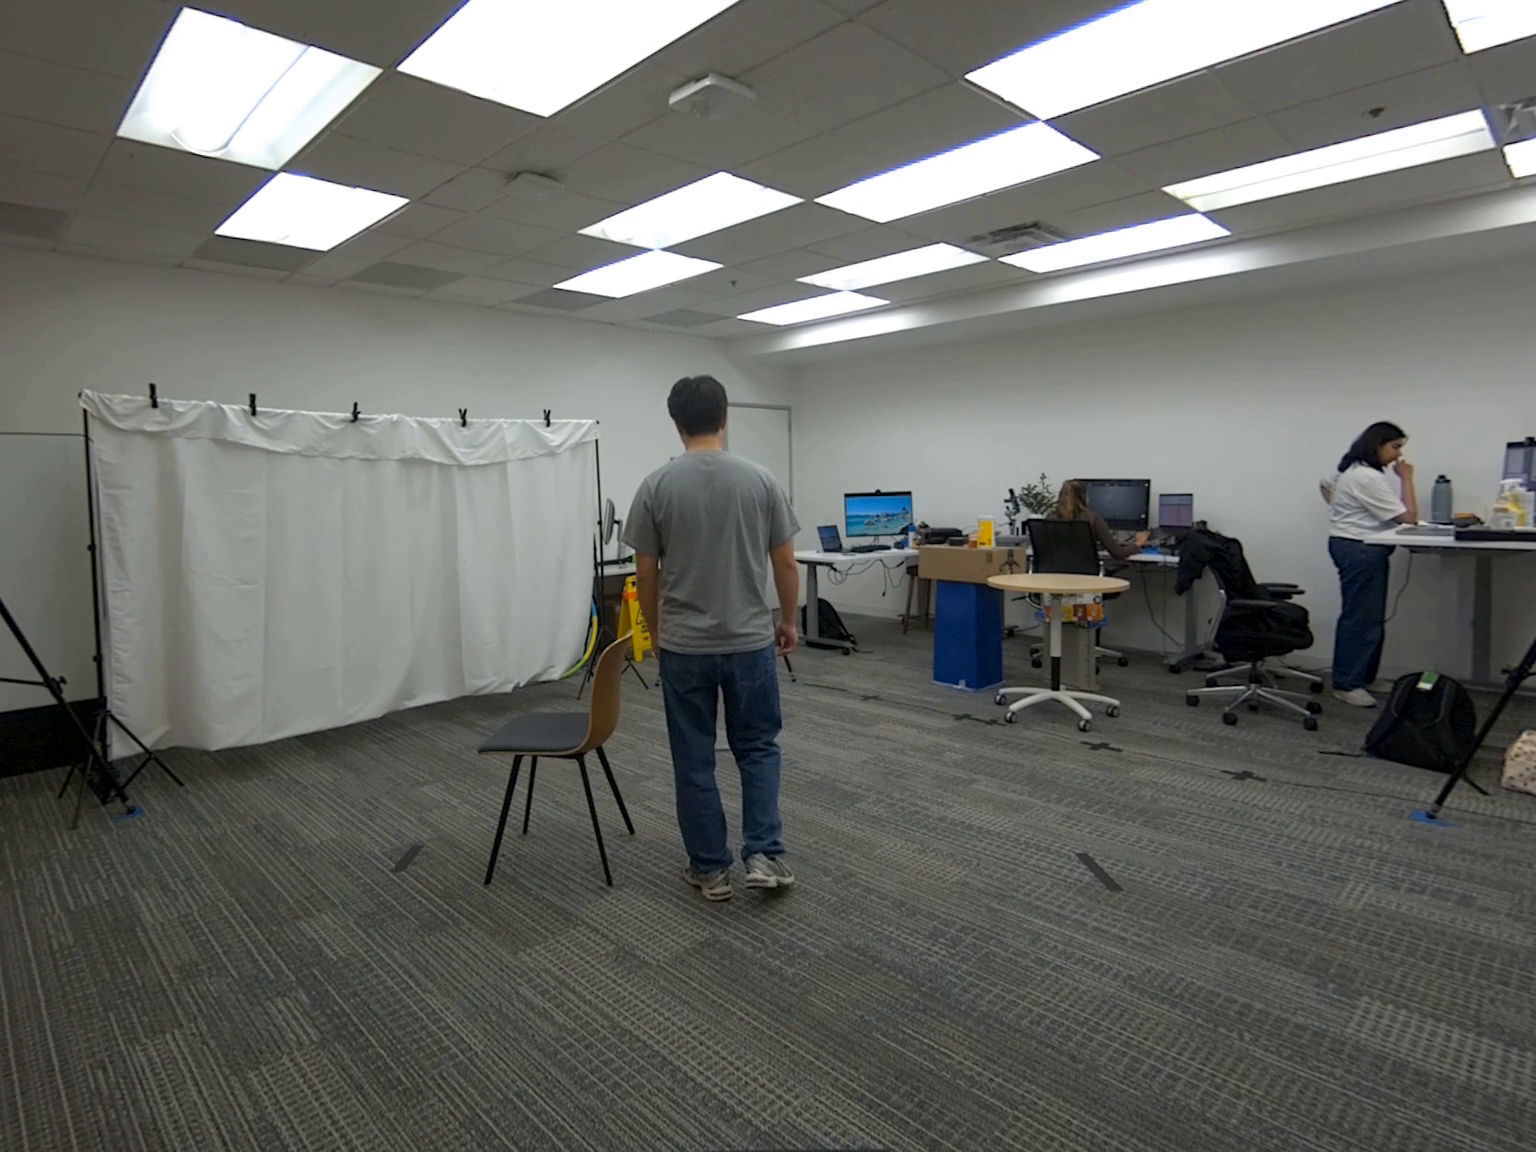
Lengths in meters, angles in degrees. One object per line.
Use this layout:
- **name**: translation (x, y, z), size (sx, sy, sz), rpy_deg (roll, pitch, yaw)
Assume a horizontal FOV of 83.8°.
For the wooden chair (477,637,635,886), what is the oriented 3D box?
- **wooden chair**: translation (-0.774, 0.635, 3.147), size (0.524, 0.874, 0.479), rpy_deg (2, 5, 2)
